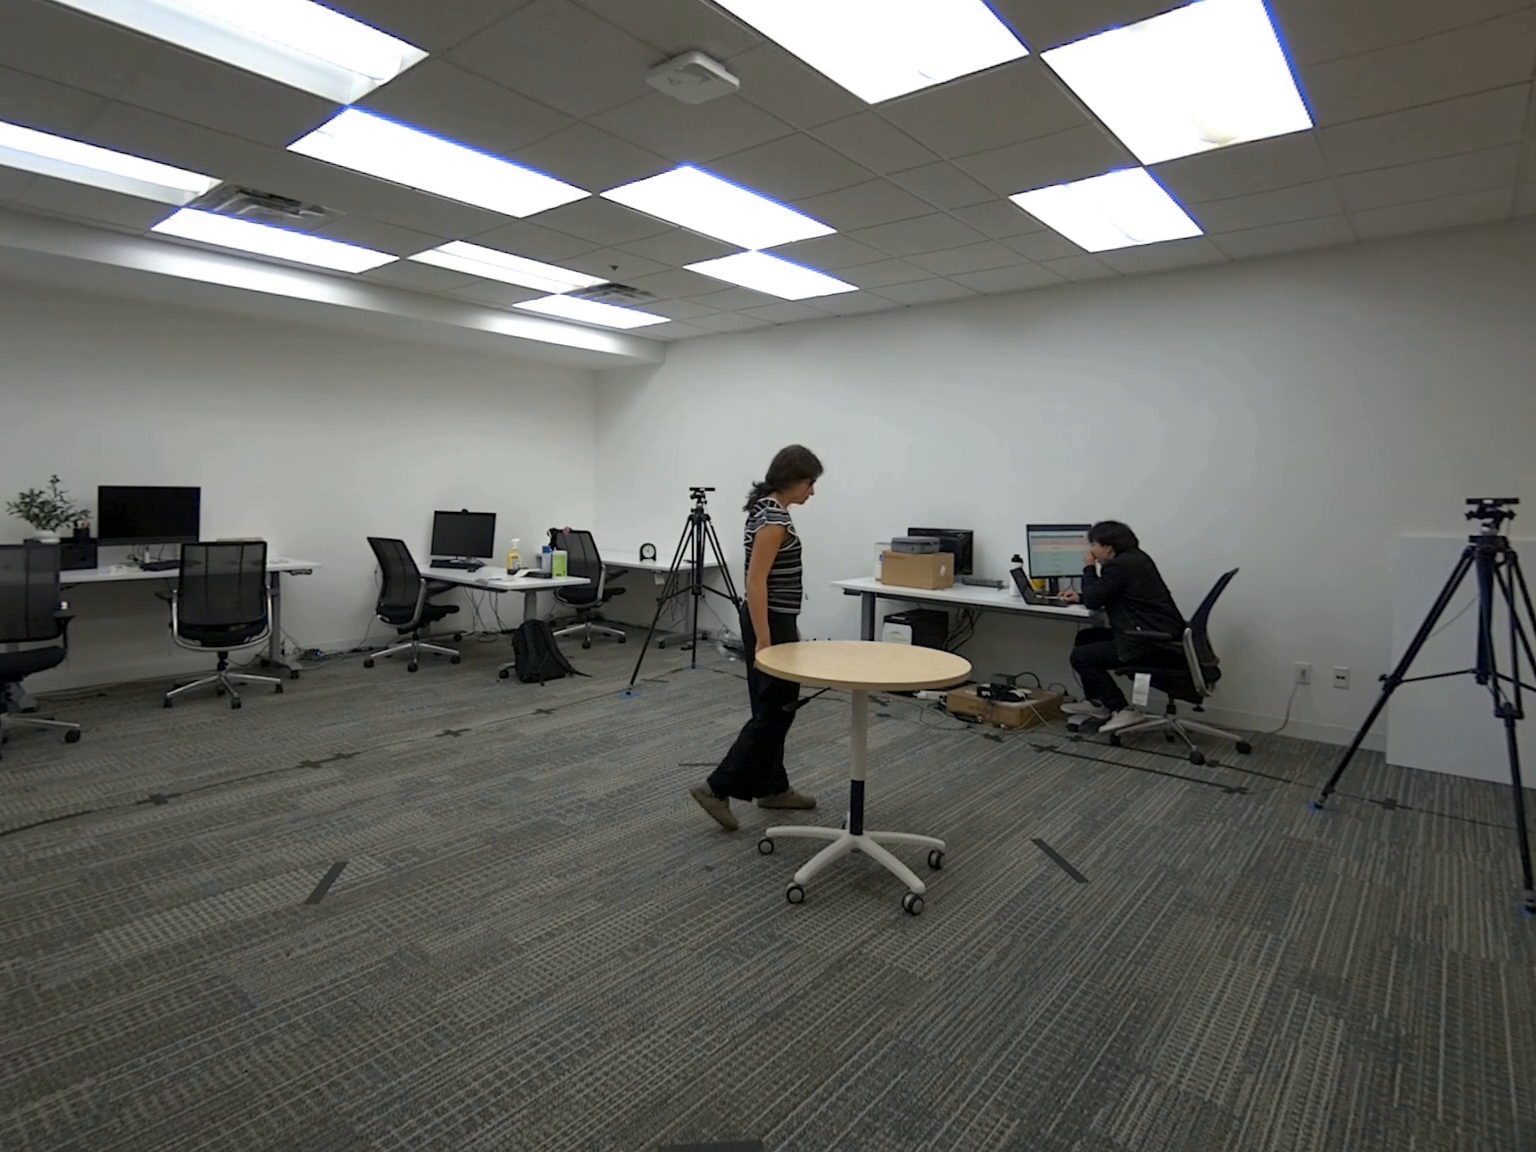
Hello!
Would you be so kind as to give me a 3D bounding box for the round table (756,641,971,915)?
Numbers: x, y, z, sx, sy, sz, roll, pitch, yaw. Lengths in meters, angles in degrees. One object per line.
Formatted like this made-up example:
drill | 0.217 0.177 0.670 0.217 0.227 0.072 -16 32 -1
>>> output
round table | 0.321 0.691 3.102 0.763 0.791 0.768 1 4 -2
